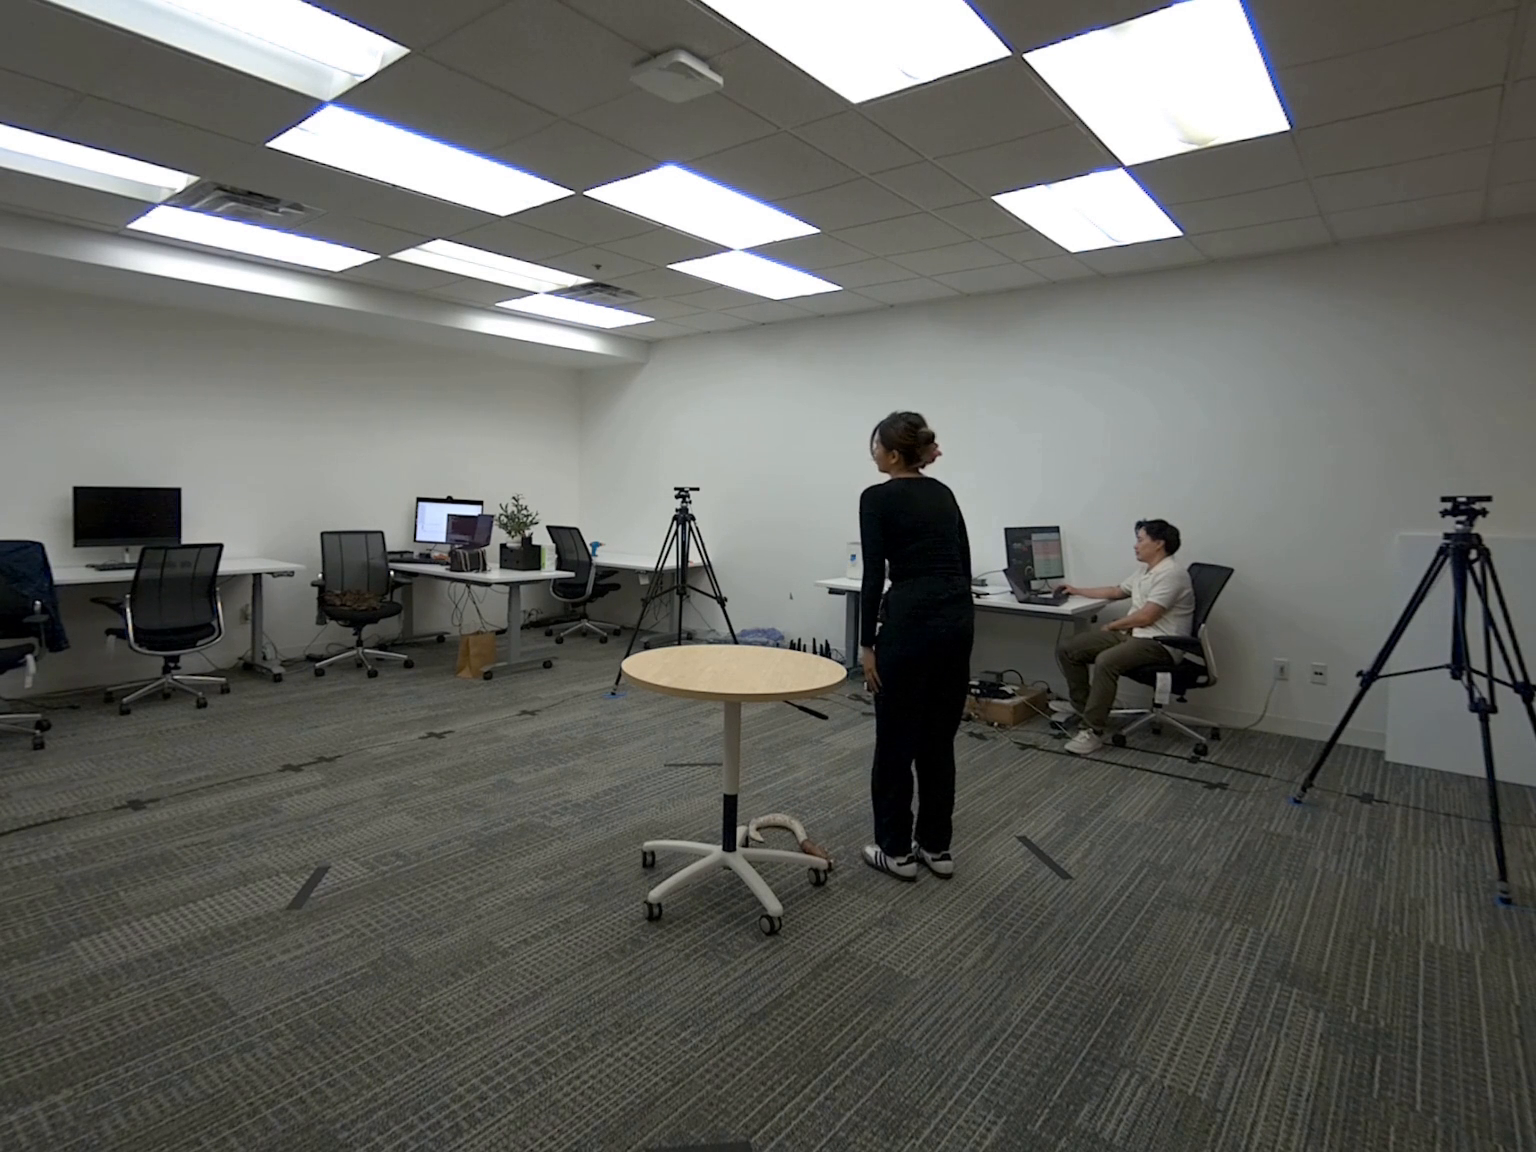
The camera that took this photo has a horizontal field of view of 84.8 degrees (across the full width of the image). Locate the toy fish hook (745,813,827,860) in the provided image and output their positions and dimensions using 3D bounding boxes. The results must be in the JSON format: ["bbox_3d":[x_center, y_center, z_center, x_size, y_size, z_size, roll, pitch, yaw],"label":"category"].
[{"bbox_3d":[0.075,1.034,3.317,0.221,0.048,0.519,-10,9,-22],"label":"toy fish hook"}]
